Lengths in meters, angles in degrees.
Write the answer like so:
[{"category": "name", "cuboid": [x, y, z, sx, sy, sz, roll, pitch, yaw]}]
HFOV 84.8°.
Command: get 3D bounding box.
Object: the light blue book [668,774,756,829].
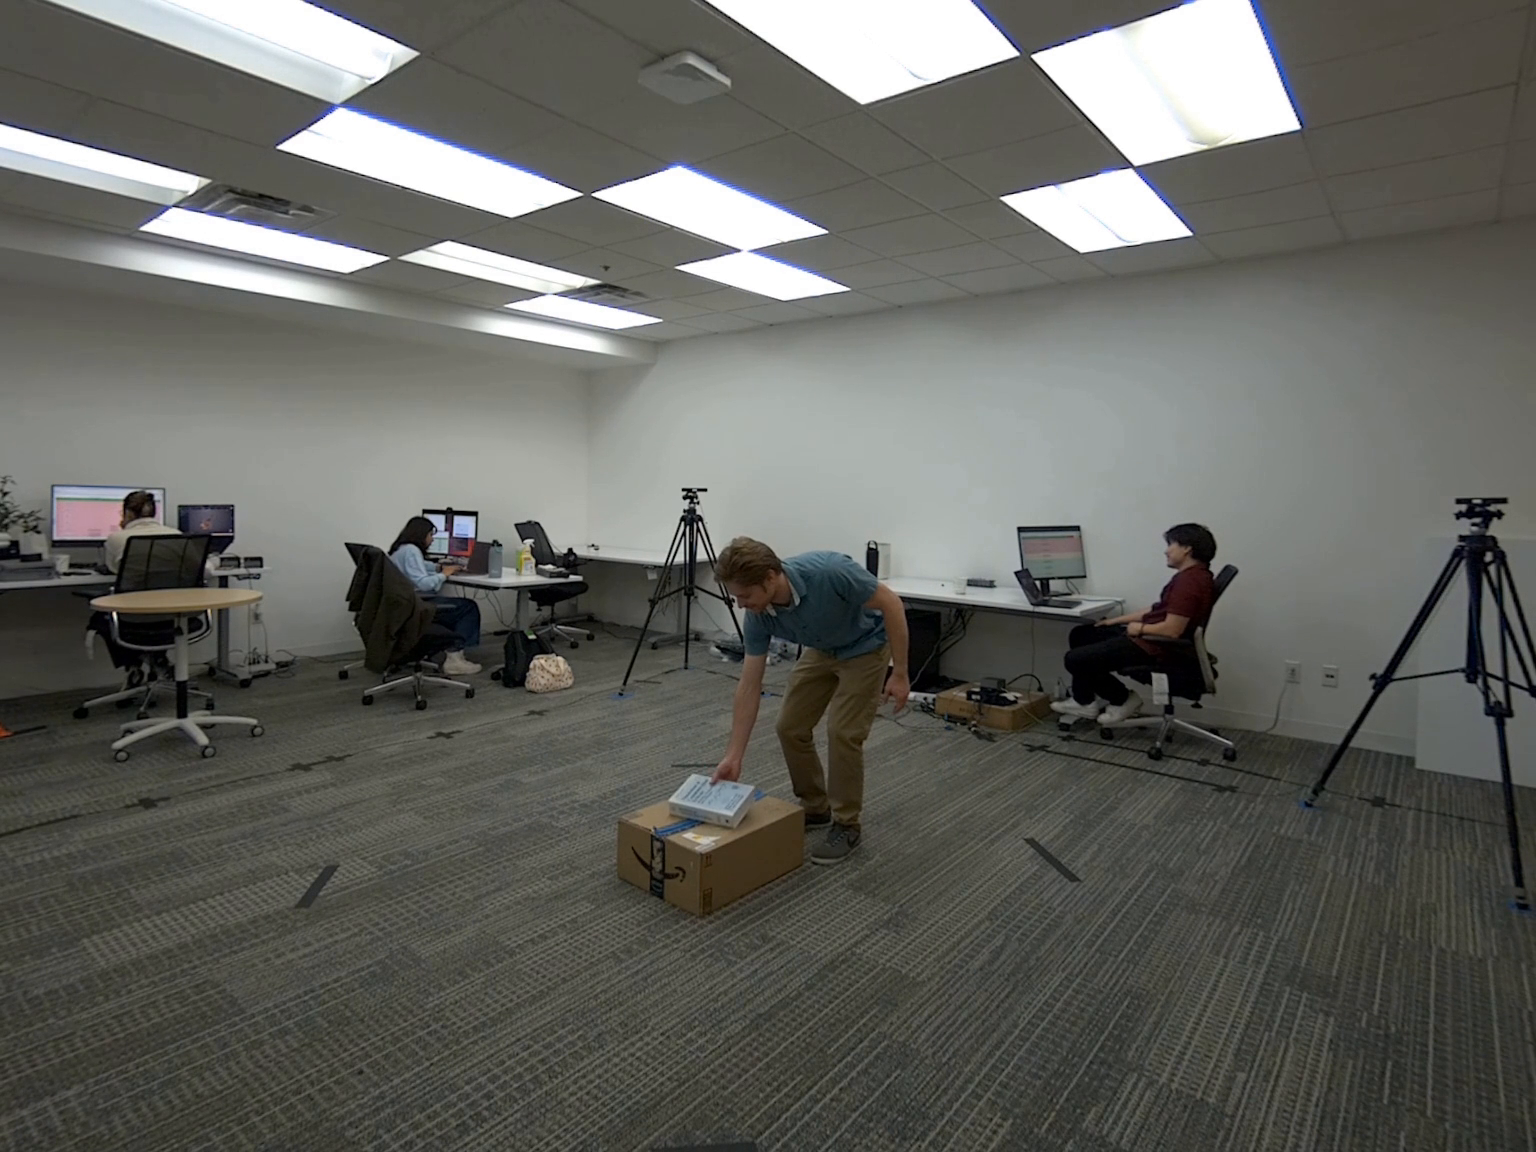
[{"category": "light blue book", "cuboid": [-0.219, 0.804, 3.085, 0.268, 0.058, 0.190, 4, 21, 26]}]
